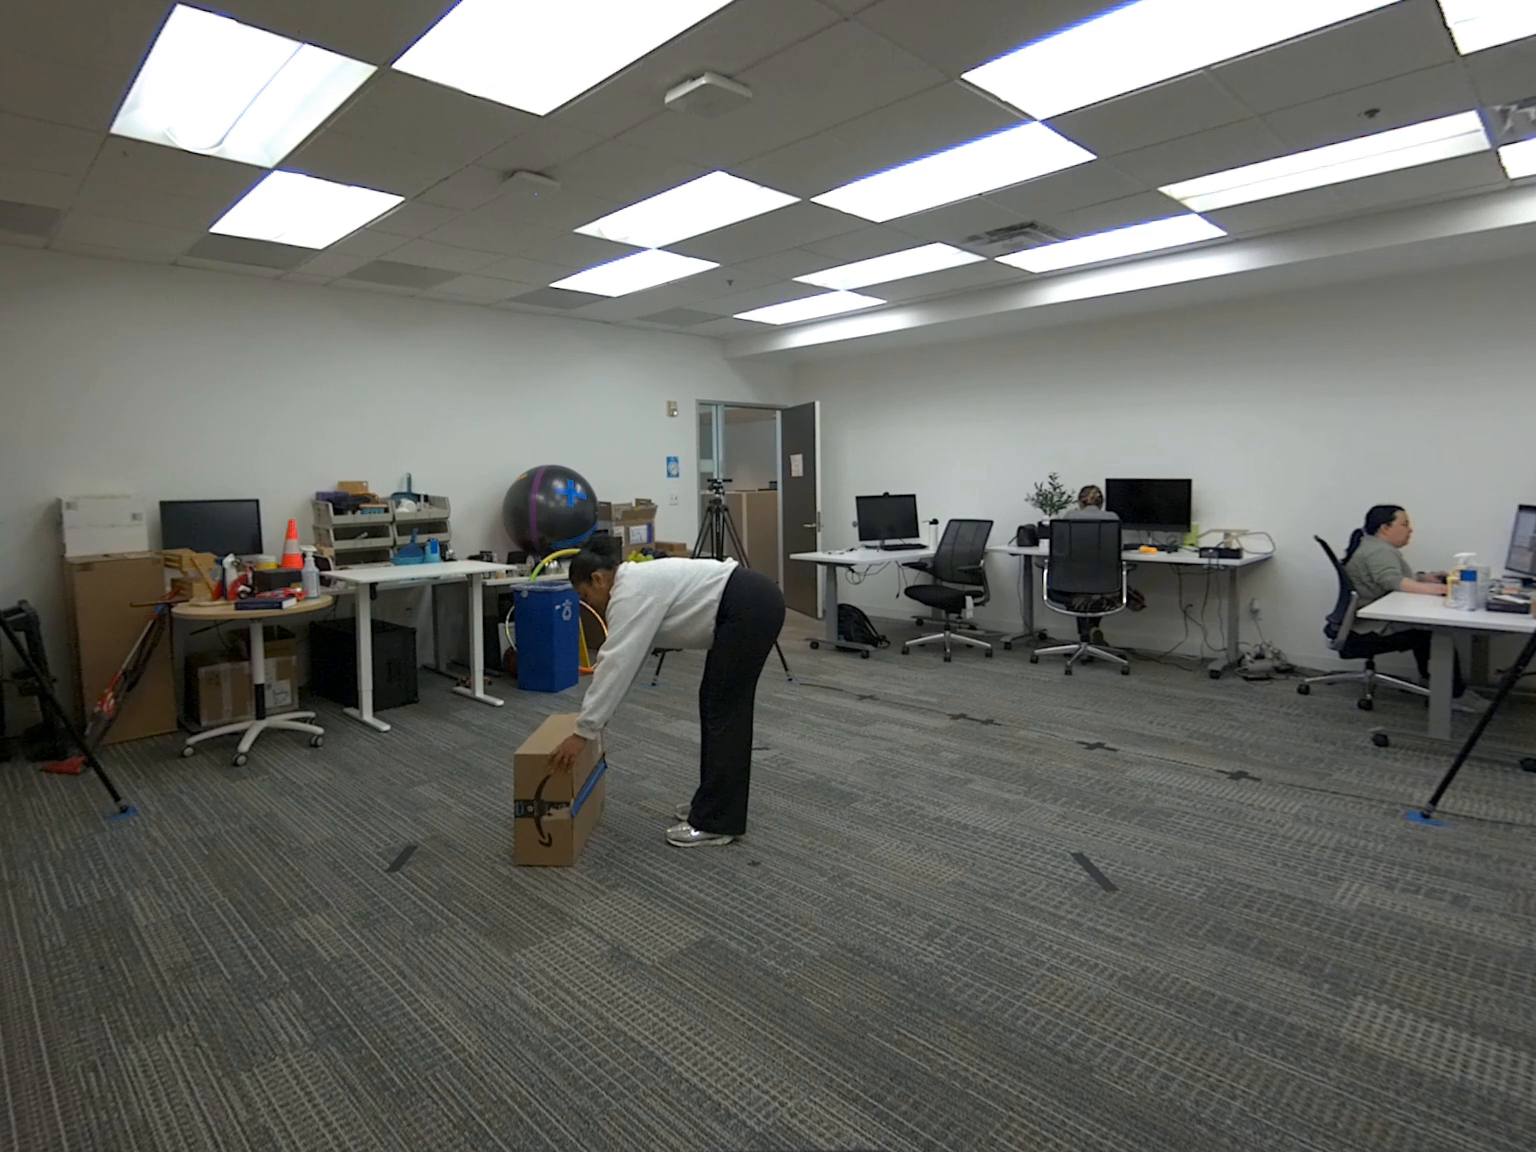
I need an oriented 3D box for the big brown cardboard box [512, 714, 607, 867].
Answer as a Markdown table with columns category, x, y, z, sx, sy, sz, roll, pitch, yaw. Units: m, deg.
| category | x | y | z | sx | sy | sz | roll | pitch | yaw |
| --- | --- | --- | --- | --- | --- | --- | --- | --- | --- |
| big brown cardboard box | -0.815 | 0.812 | 3.388 | 0.234 | 0.416 | 0.590 | 0 | 6 | 2 |
